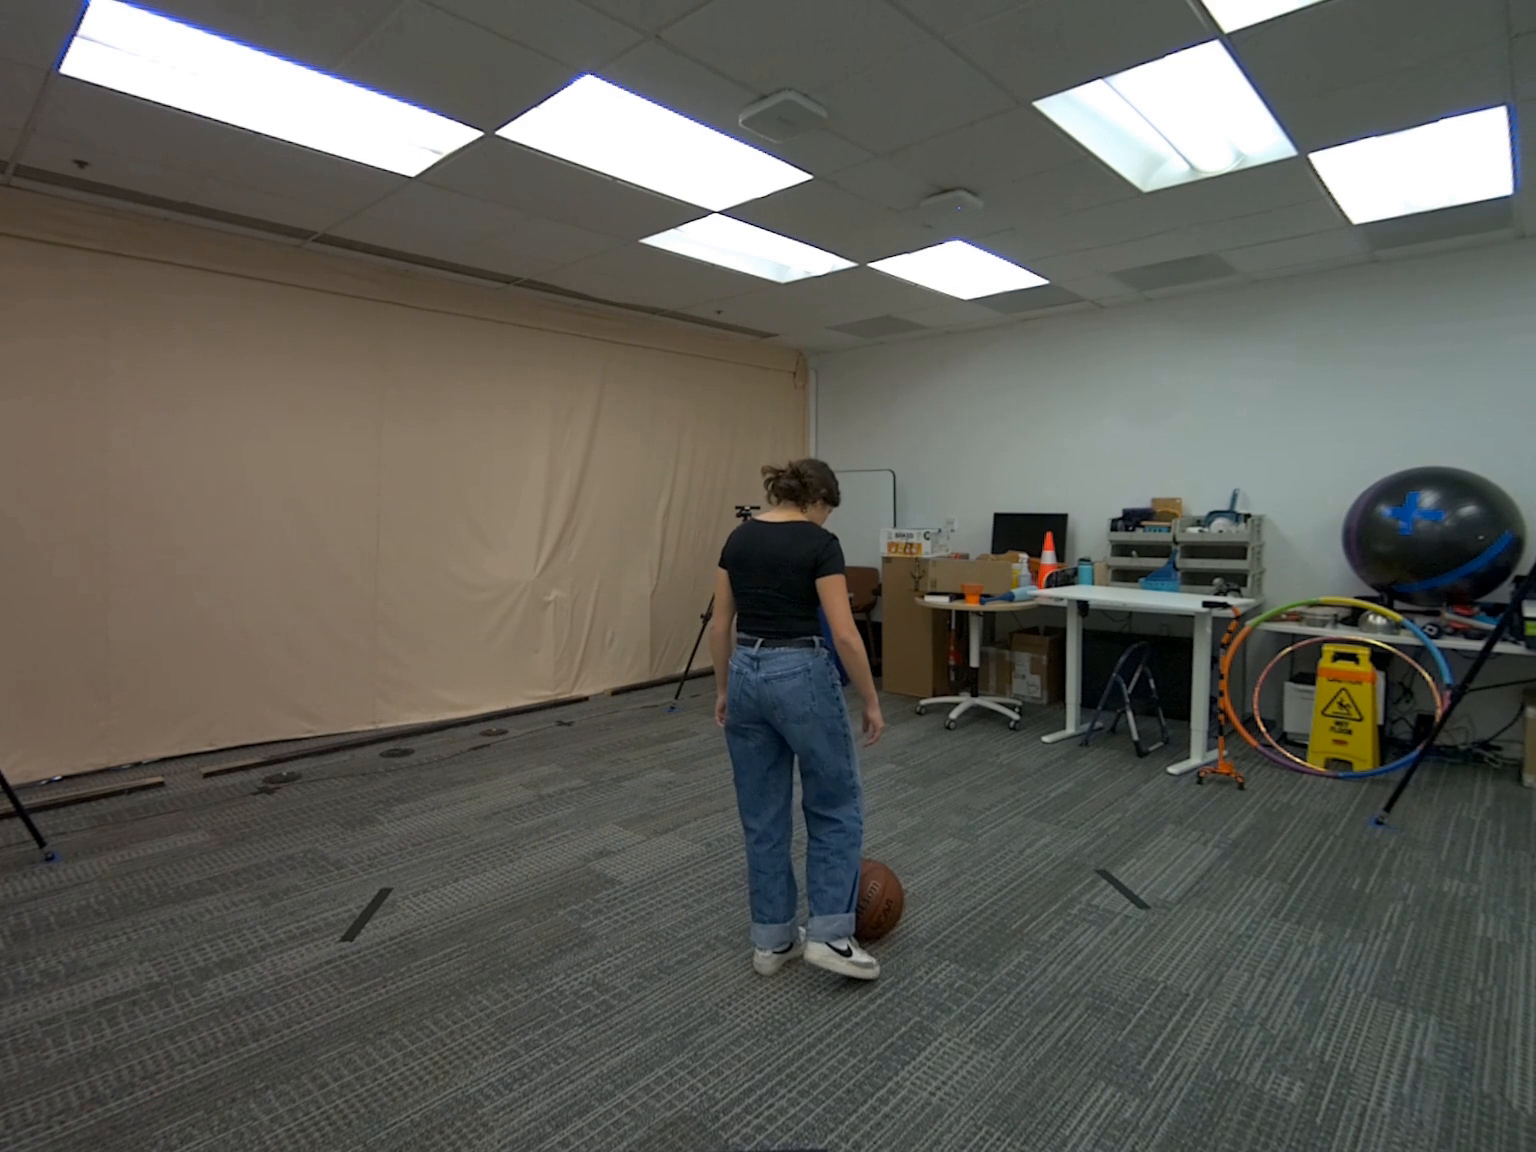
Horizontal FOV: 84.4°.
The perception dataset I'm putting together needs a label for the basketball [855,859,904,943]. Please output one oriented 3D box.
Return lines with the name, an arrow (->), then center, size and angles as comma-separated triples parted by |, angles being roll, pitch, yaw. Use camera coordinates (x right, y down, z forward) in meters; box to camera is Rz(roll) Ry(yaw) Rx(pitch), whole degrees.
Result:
basketball -> 0.325, 1.040, 2.738 | 0.236, 0.235, 0.237 | 0, 4, -2
